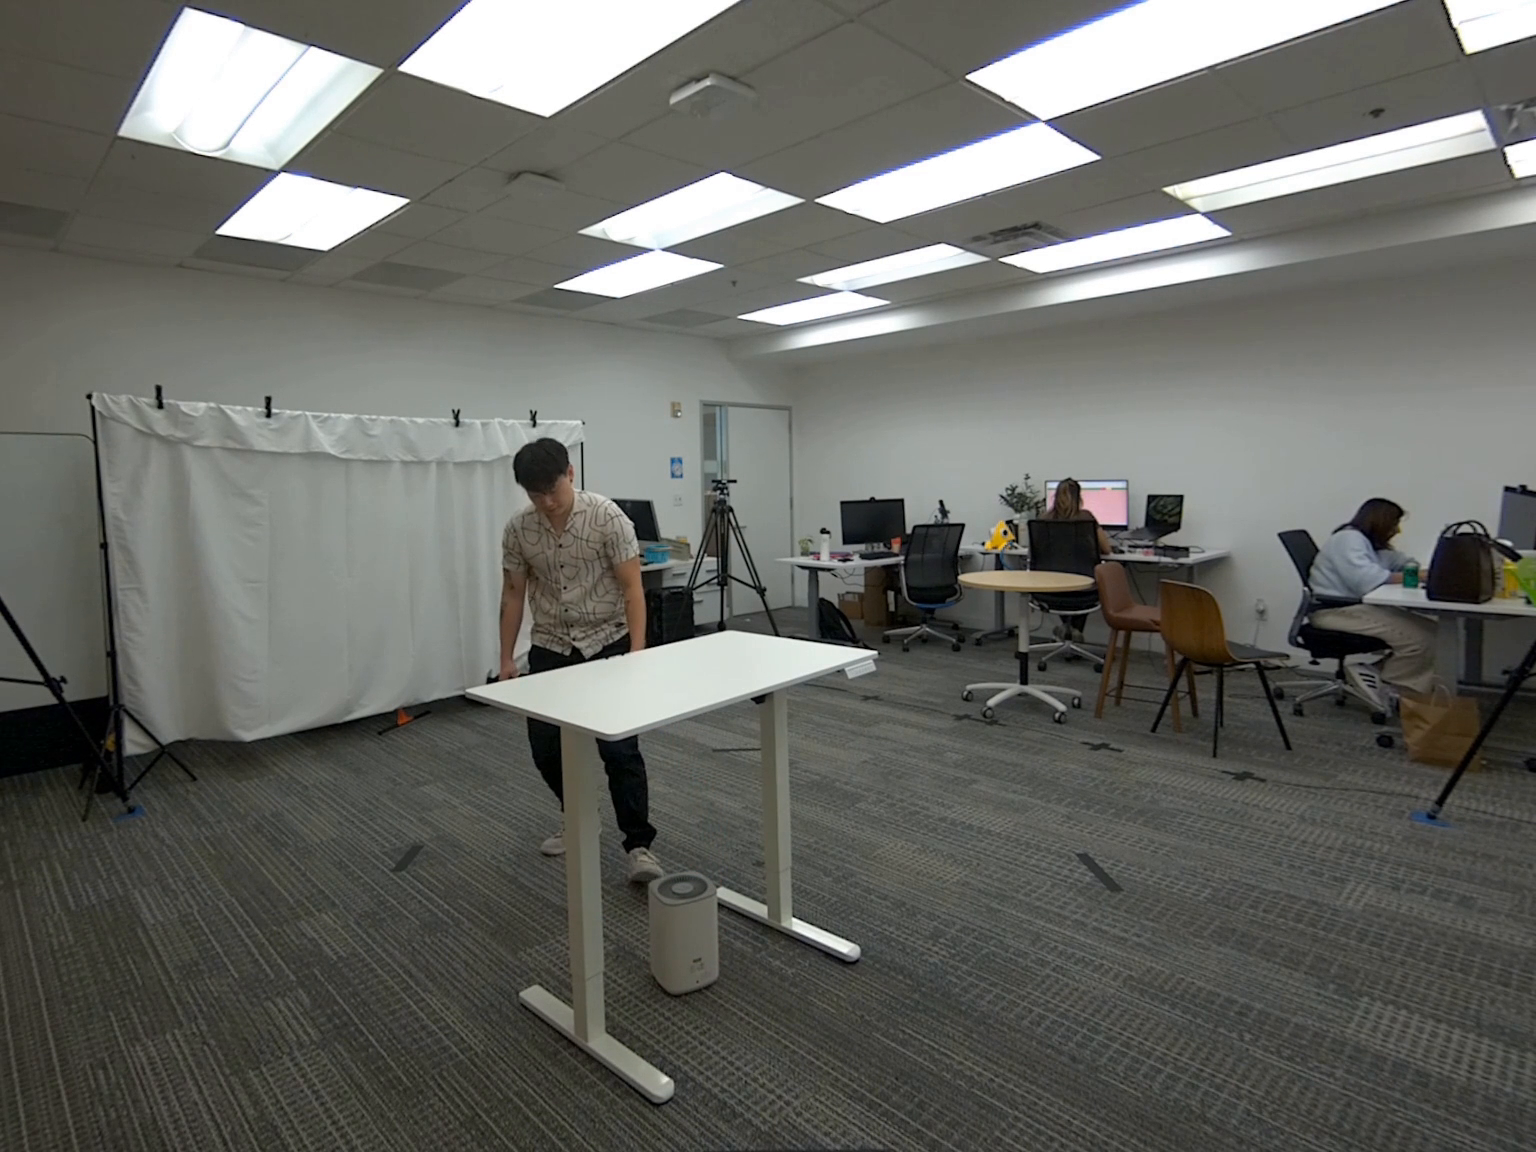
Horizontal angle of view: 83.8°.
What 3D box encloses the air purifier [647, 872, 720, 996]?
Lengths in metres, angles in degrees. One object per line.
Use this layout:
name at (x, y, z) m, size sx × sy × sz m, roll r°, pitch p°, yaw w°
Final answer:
air purifier at (-0.236, 1.008, 2.396) m, size 0.167 × 0.264 × 0.176 m, roll -4°, pitch 5°, yaw -30°
